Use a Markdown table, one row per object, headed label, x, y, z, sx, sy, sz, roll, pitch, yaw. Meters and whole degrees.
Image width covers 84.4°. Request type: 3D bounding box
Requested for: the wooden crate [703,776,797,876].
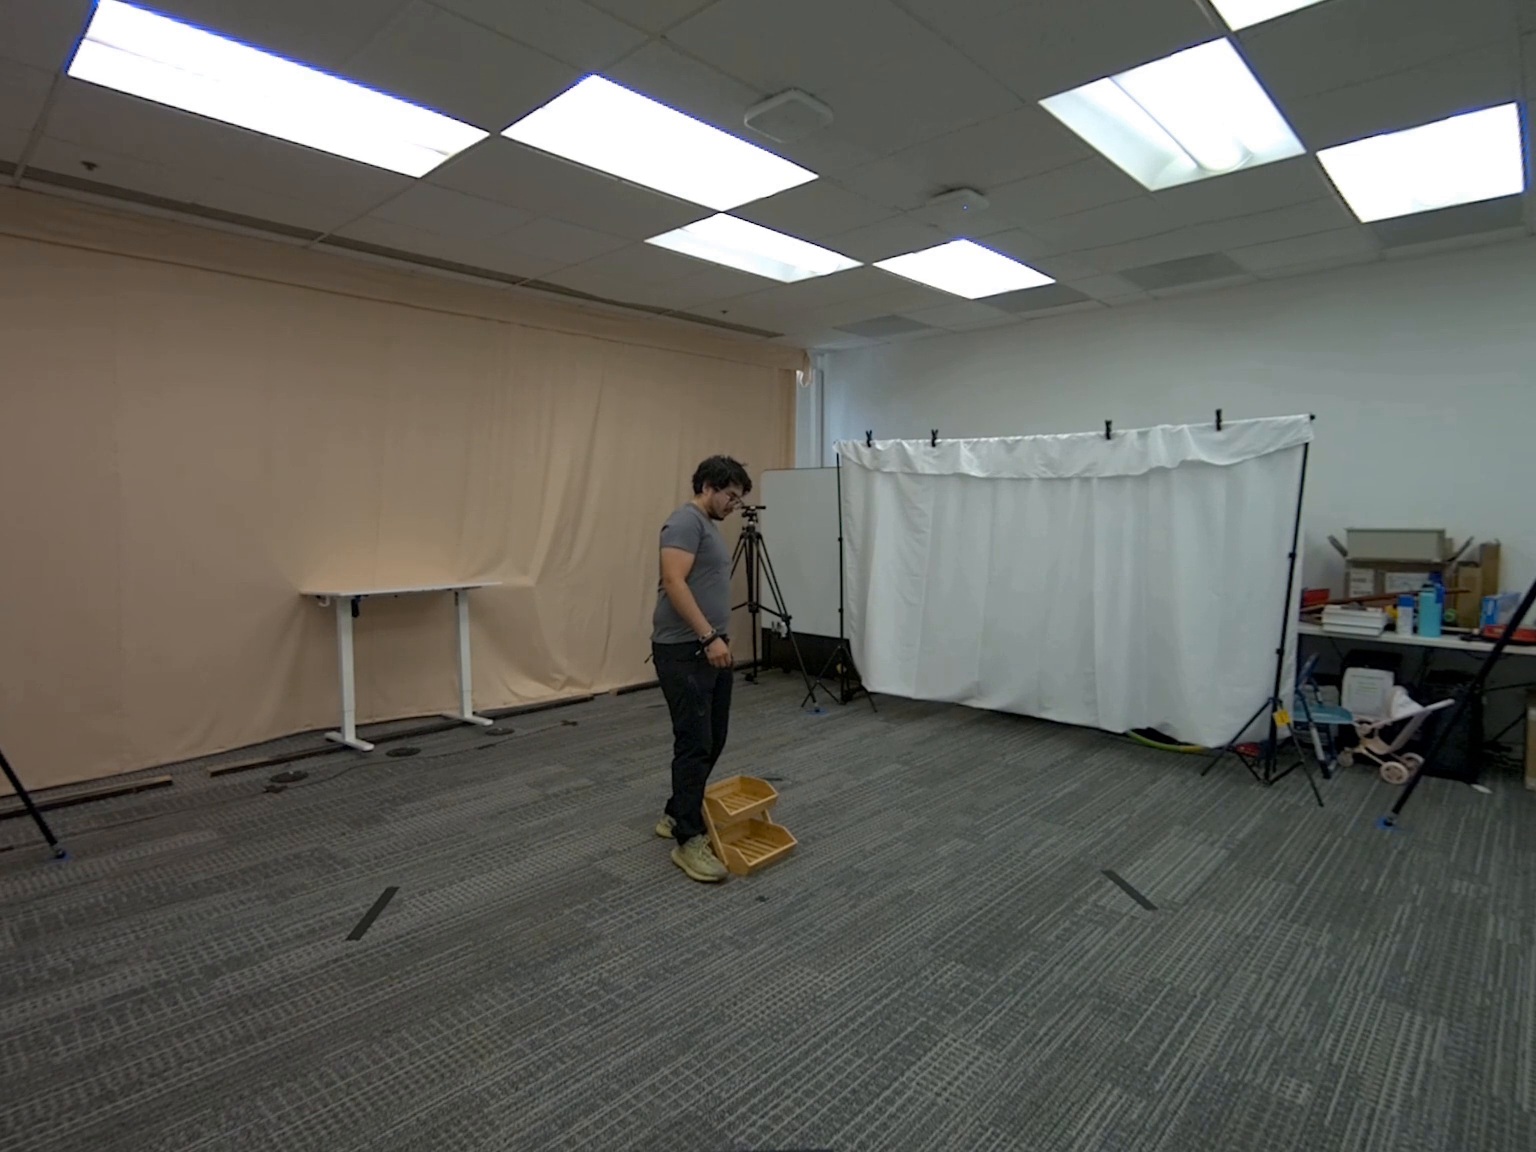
| label | x | y | z | sx | sy | sz | roll | pitch | yaw |
| --- | --- | --- | --- | --- | --- | --- | --- | --- | --- |
| wooden crate | -0.087 | 0.979 | 3.347 | 0.312 | 0.273 | 0.315 | 2 | 5 | 39 |
